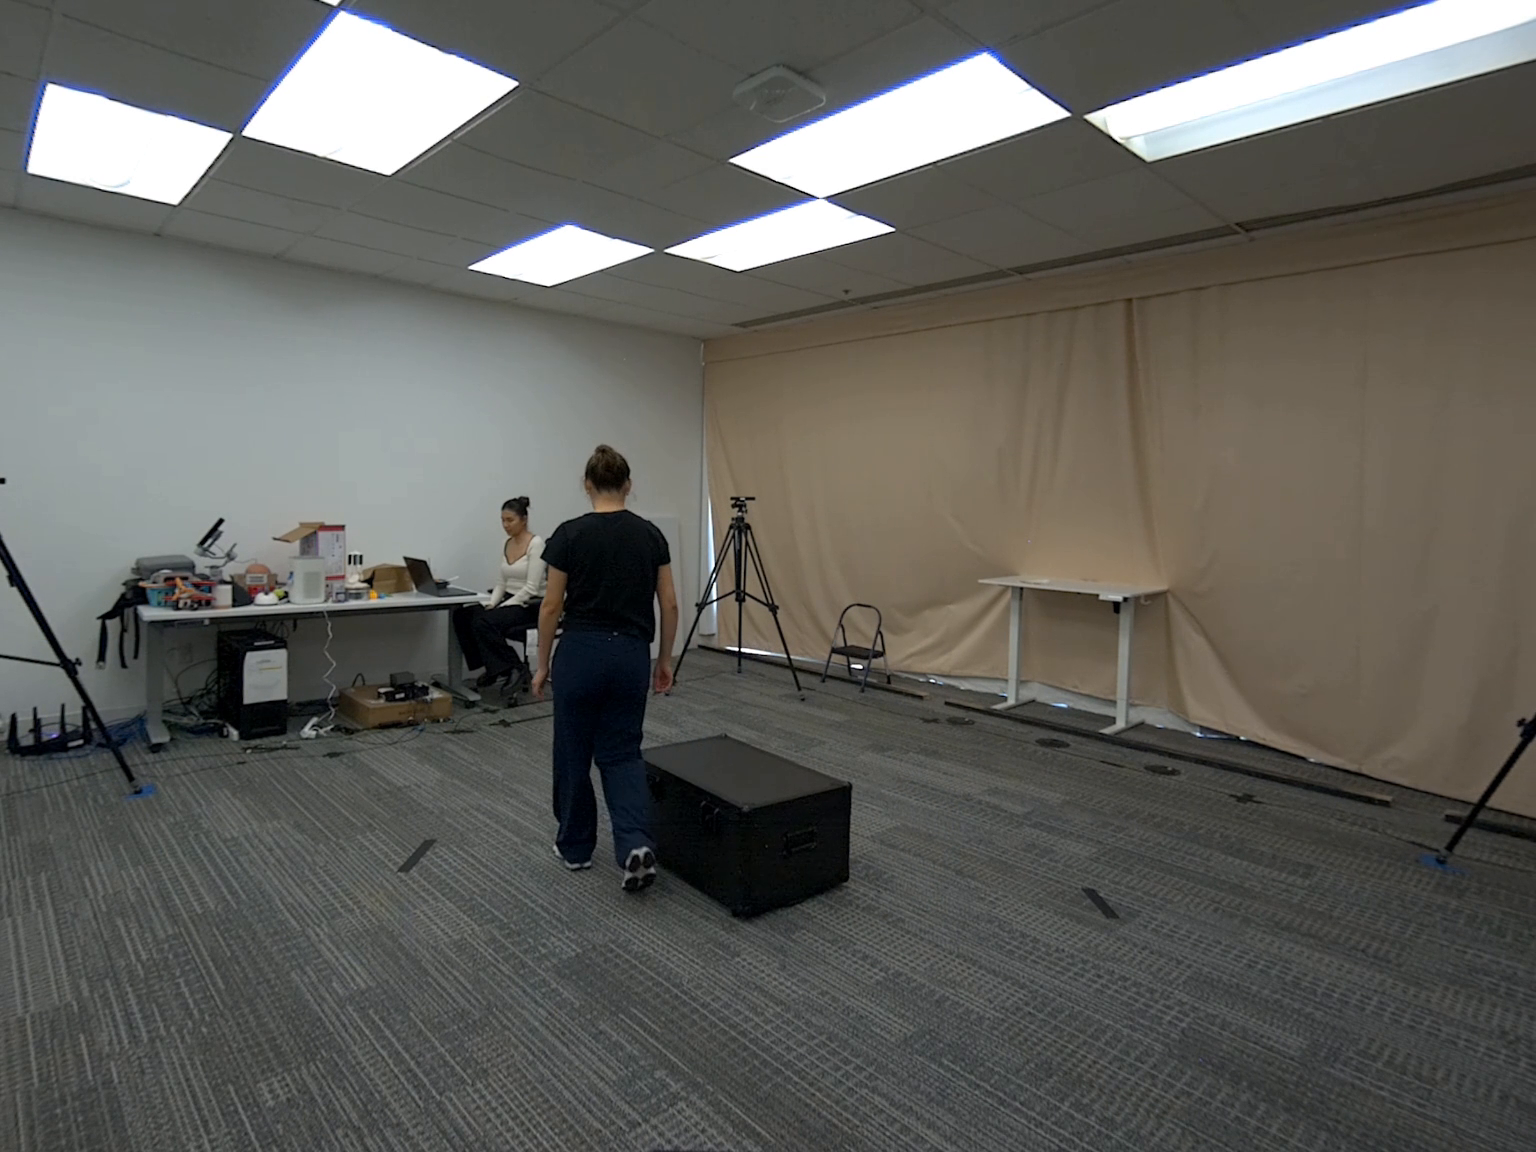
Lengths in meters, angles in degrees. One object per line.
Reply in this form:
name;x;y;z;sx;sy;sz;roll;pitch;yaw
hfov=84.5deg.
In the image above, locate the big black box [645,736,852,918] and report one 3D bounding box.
big black box;-0.120;0.912;3.153;0.510;0.395;0.883;-2;5;-38
